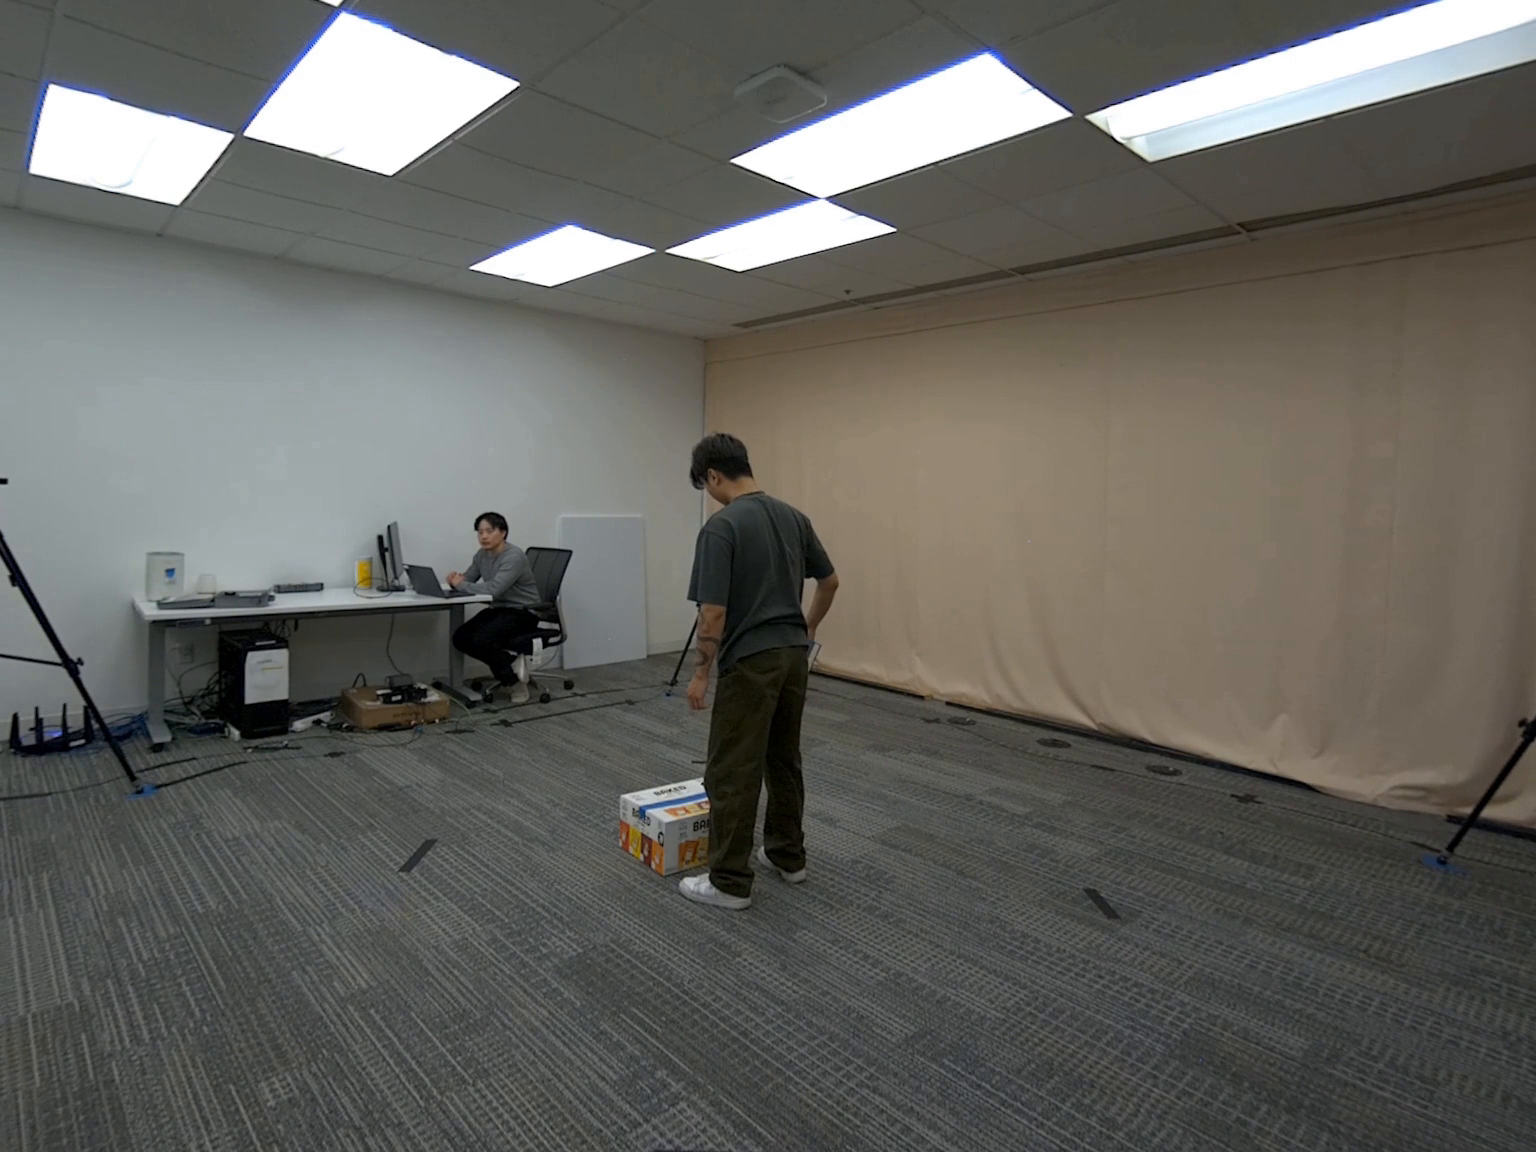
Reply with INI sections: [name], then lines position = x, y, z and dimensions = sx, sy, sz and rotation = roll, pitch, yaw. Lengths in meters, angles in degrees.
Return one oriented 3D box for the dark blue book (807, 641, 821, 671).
[dark blue book]
position = 0.079, 0.316, 3.353
dimensions = 0.044, 0.164, 0.252
rotation = 31, -9, -40
